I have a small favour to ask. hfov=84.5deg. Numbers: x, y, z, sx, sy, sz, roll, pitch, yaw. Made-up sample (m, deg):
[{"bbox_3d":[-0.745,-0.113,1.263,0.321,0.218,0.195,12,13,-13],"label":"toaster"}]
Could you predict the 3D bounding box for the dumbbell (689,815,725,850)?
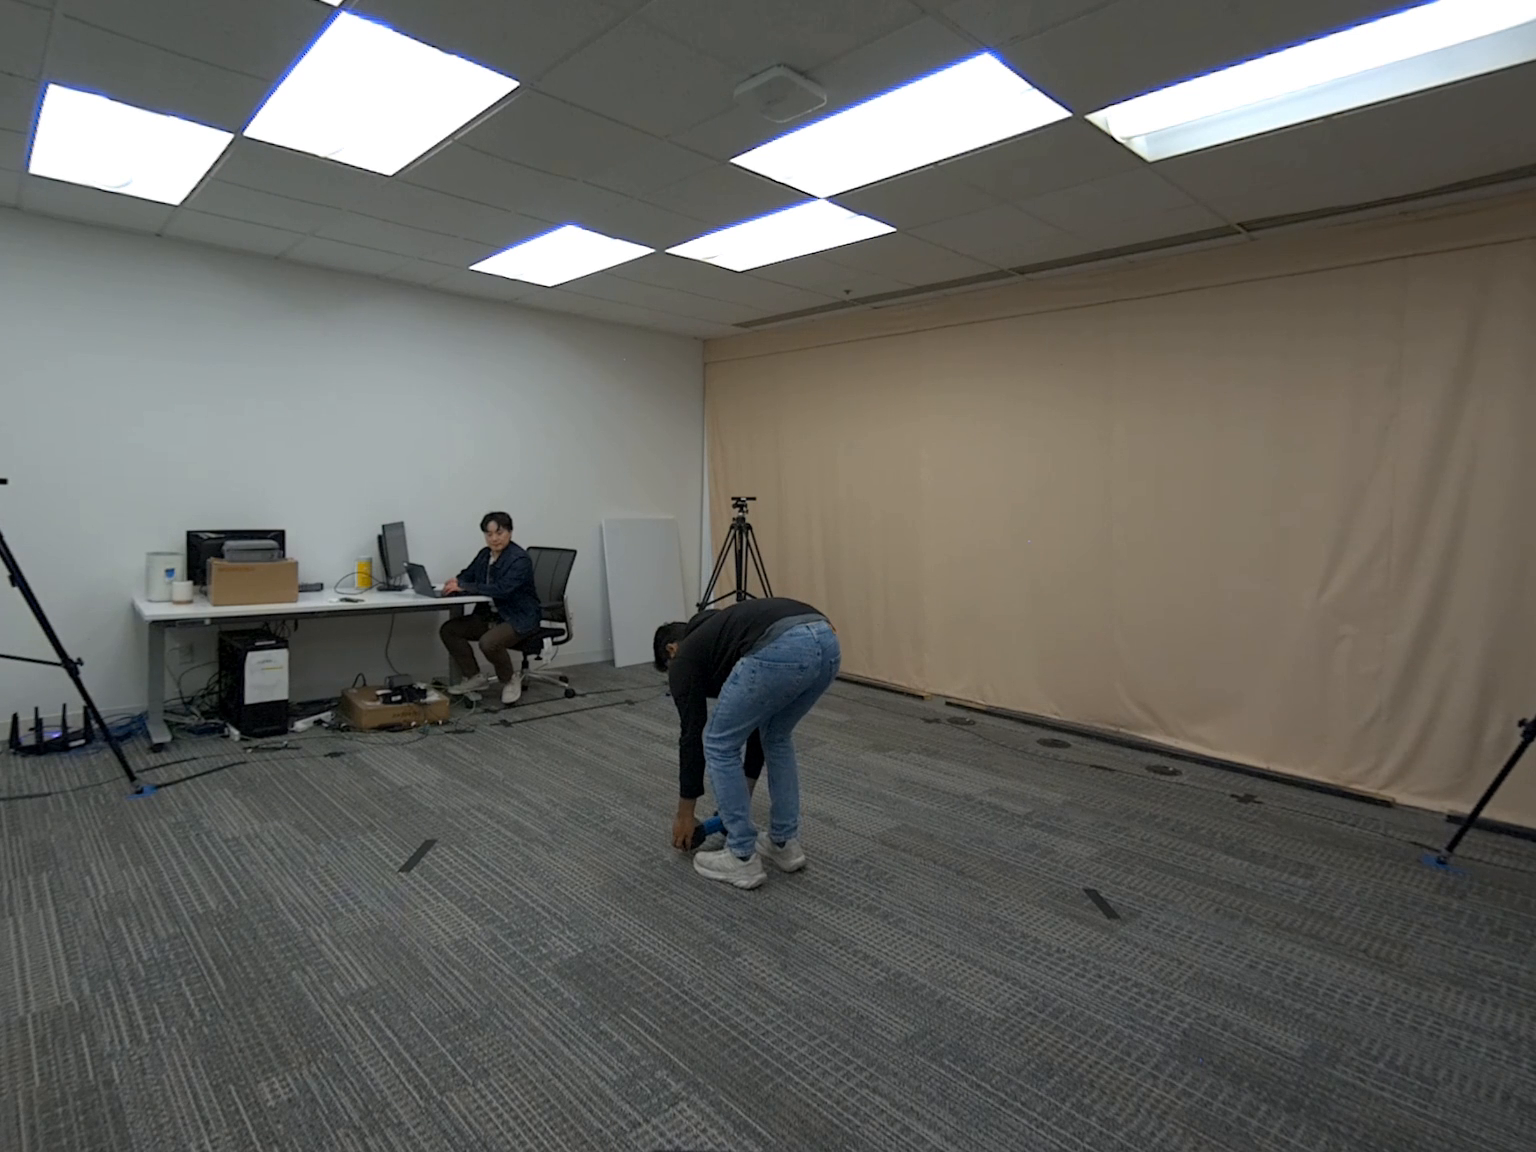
[{"bbox_3d":[-0.228,0.995,3.346,0.287,0.123,0.111,-6,-3,-43],"label":"dumbbell"}]
